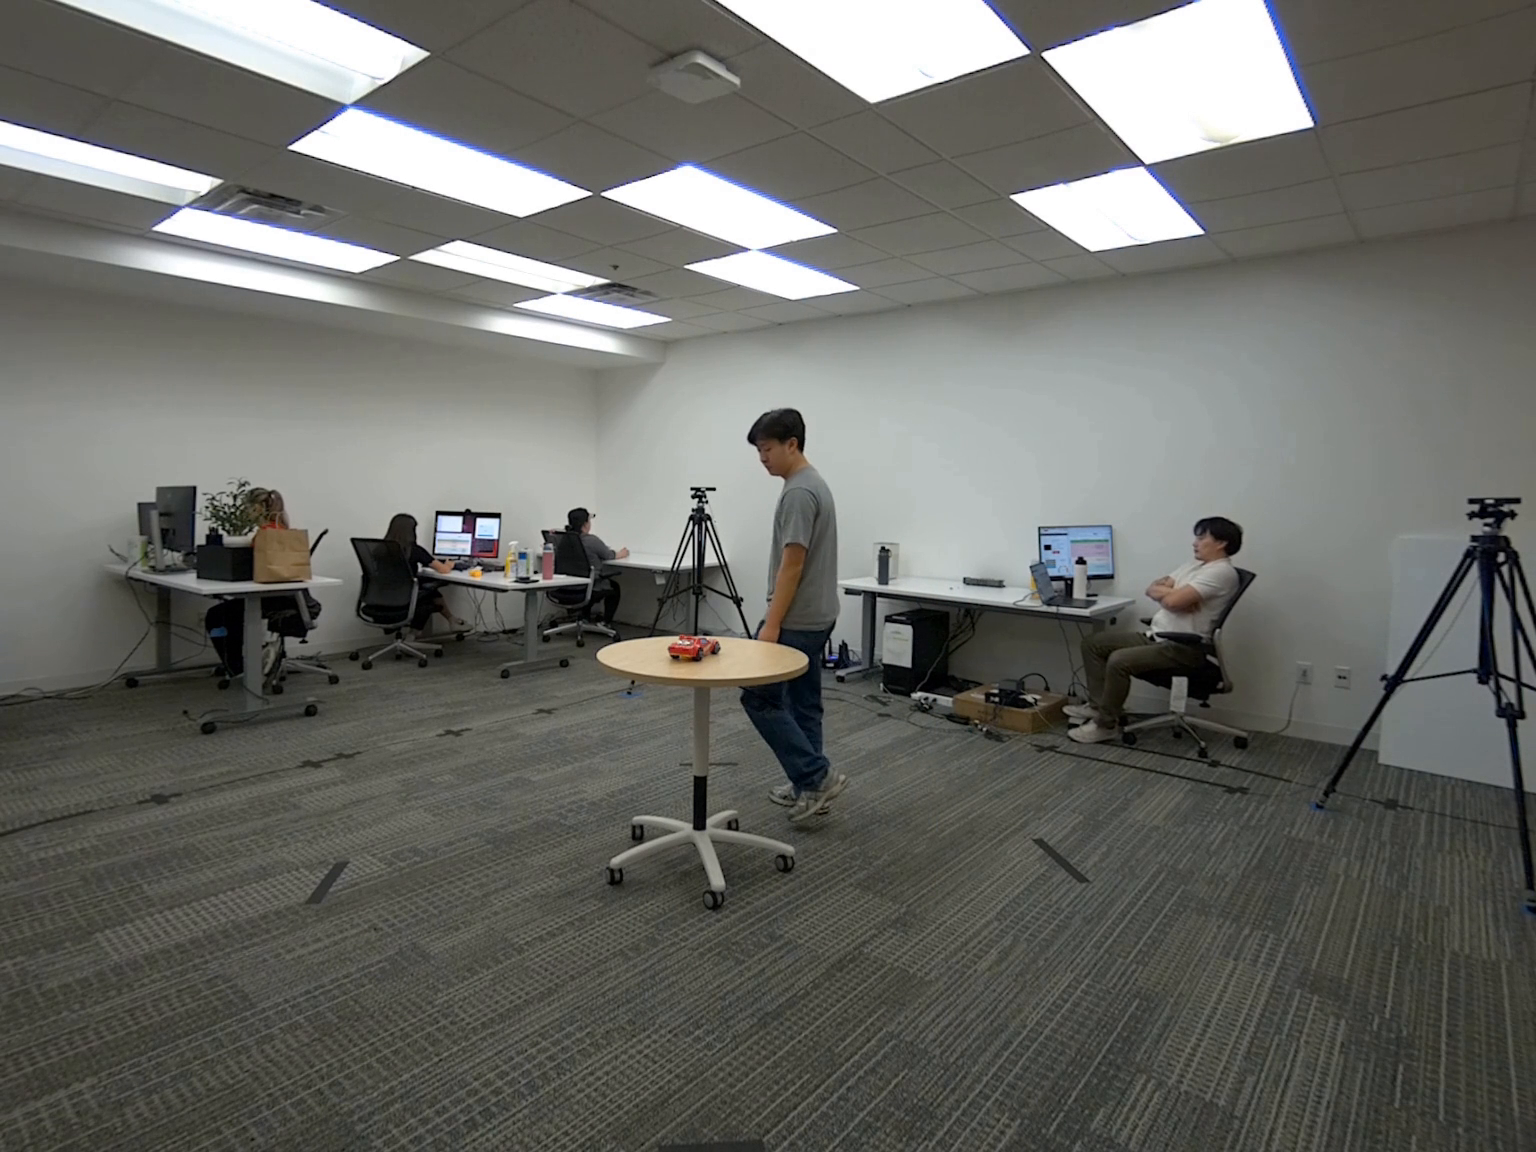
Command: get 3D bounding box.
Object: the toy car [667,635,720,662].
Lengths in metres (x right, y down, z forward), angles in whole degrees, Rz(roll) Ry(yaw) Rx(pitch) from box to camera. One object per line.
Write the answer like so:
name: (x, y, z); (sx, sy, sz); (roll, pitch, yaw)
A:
toy car: (-0.280, 0.255, 3.047); (0.133, 0.083, 0.247); (4, -5, 22)
